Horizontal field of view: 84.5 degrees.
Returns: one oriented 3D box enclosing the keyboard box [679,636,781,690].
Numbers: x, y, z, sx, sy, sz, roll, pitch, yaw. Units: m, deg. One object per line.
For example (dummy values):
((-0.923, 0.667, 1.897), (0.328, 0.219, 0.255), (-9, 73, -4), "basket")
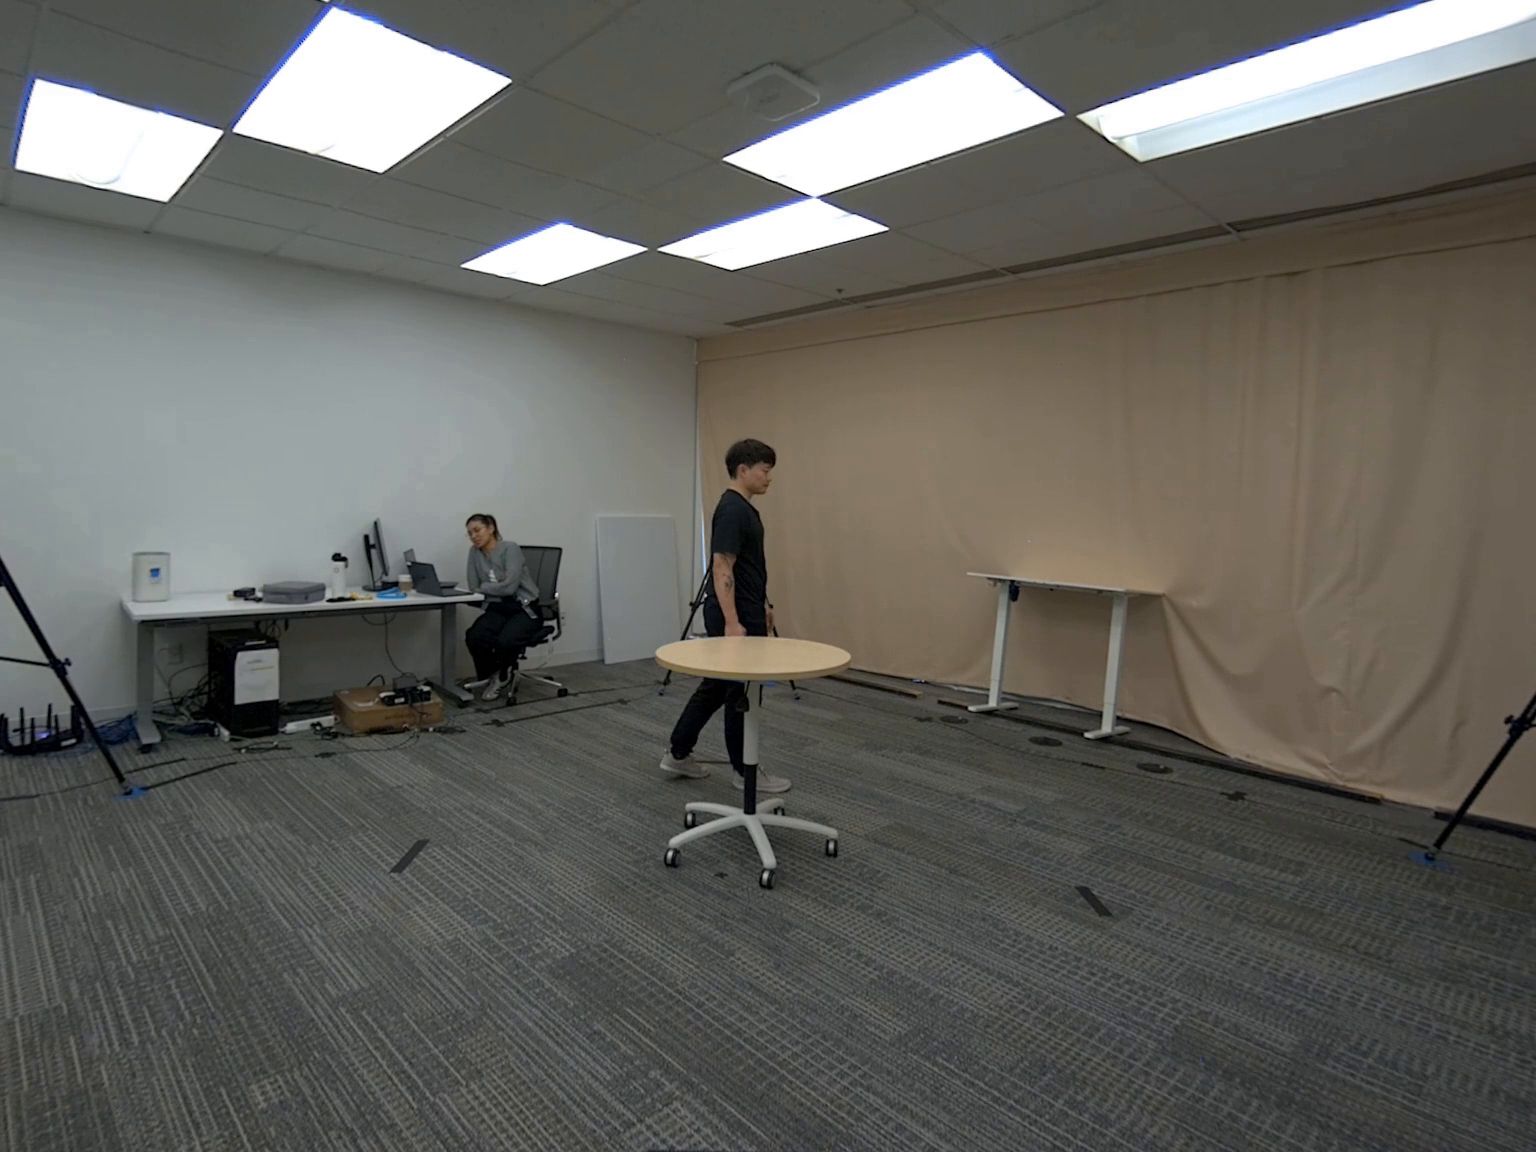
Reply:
((-0.173, 0.389, 3.828), (0.439, 0.175, 0.059), (7, 5, 5), "keyboard box")
